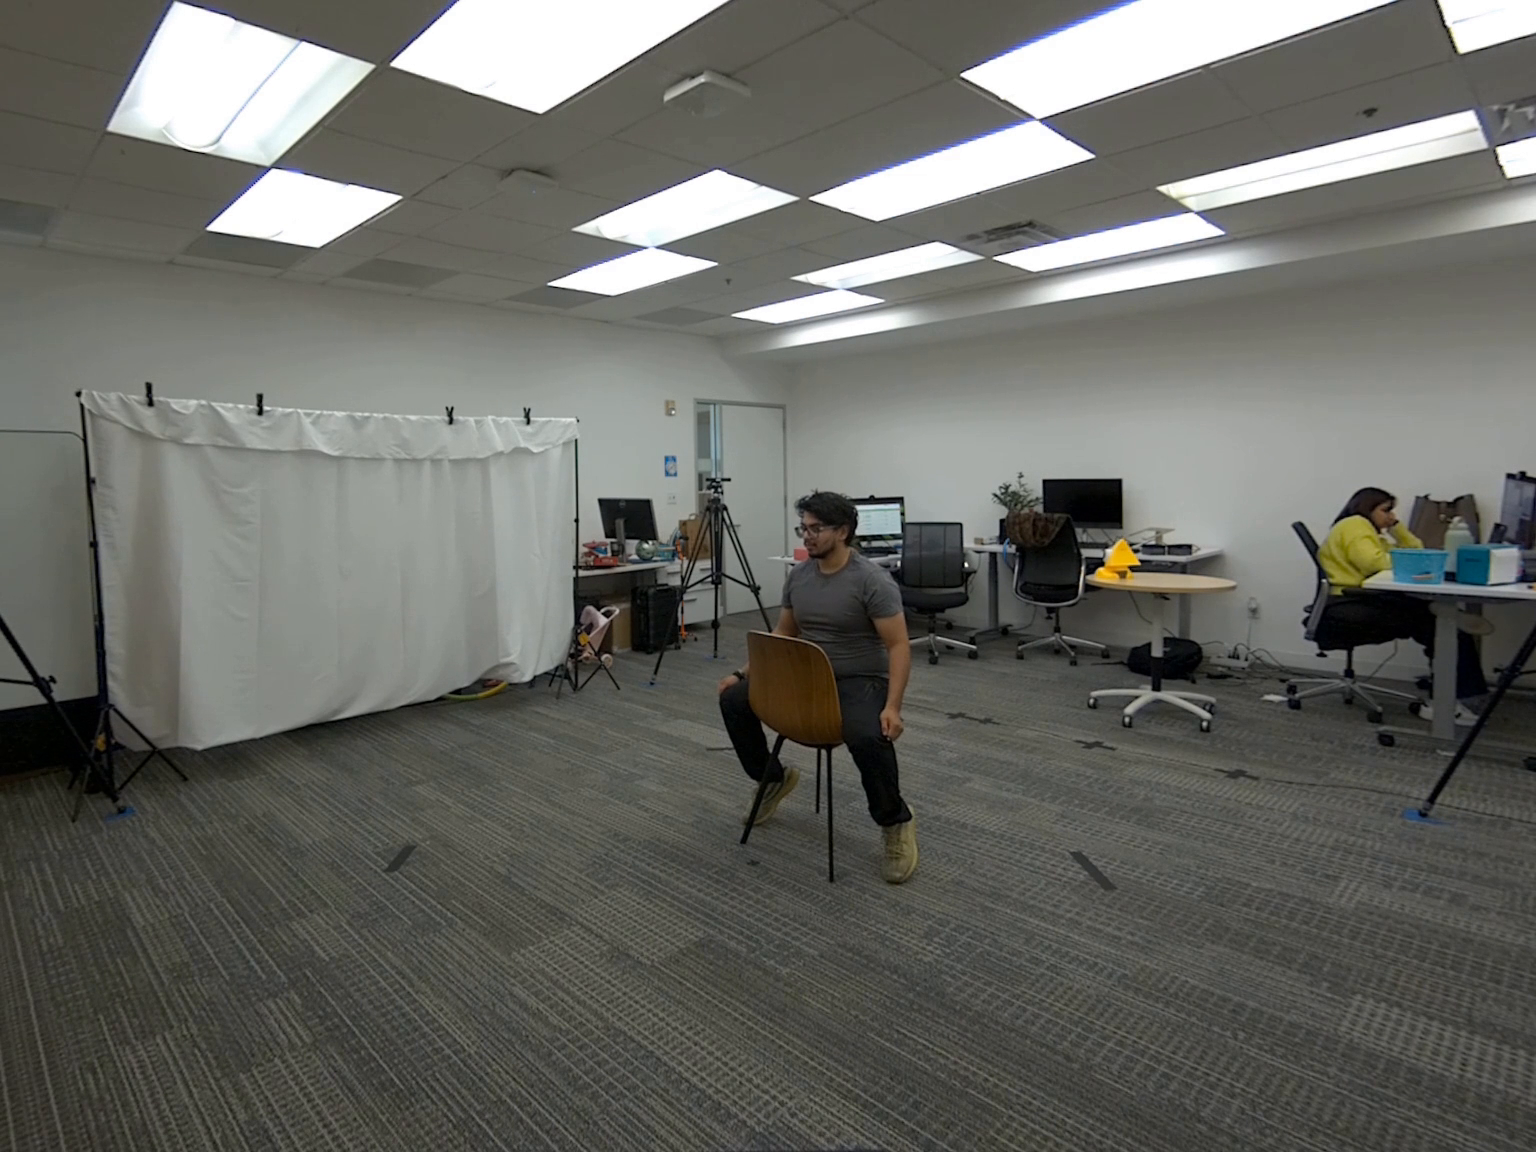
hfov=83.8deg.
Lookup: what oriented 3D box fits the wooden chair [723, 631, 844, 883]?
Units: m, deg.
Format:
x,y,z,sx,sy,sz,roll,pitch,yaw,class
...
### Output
x,y,z,sx,sy,sz,roll,pitch,yaw,class
0.211,0.600,3.236,0.510,0.872,0.493,-10,9,-44,wooden chair
